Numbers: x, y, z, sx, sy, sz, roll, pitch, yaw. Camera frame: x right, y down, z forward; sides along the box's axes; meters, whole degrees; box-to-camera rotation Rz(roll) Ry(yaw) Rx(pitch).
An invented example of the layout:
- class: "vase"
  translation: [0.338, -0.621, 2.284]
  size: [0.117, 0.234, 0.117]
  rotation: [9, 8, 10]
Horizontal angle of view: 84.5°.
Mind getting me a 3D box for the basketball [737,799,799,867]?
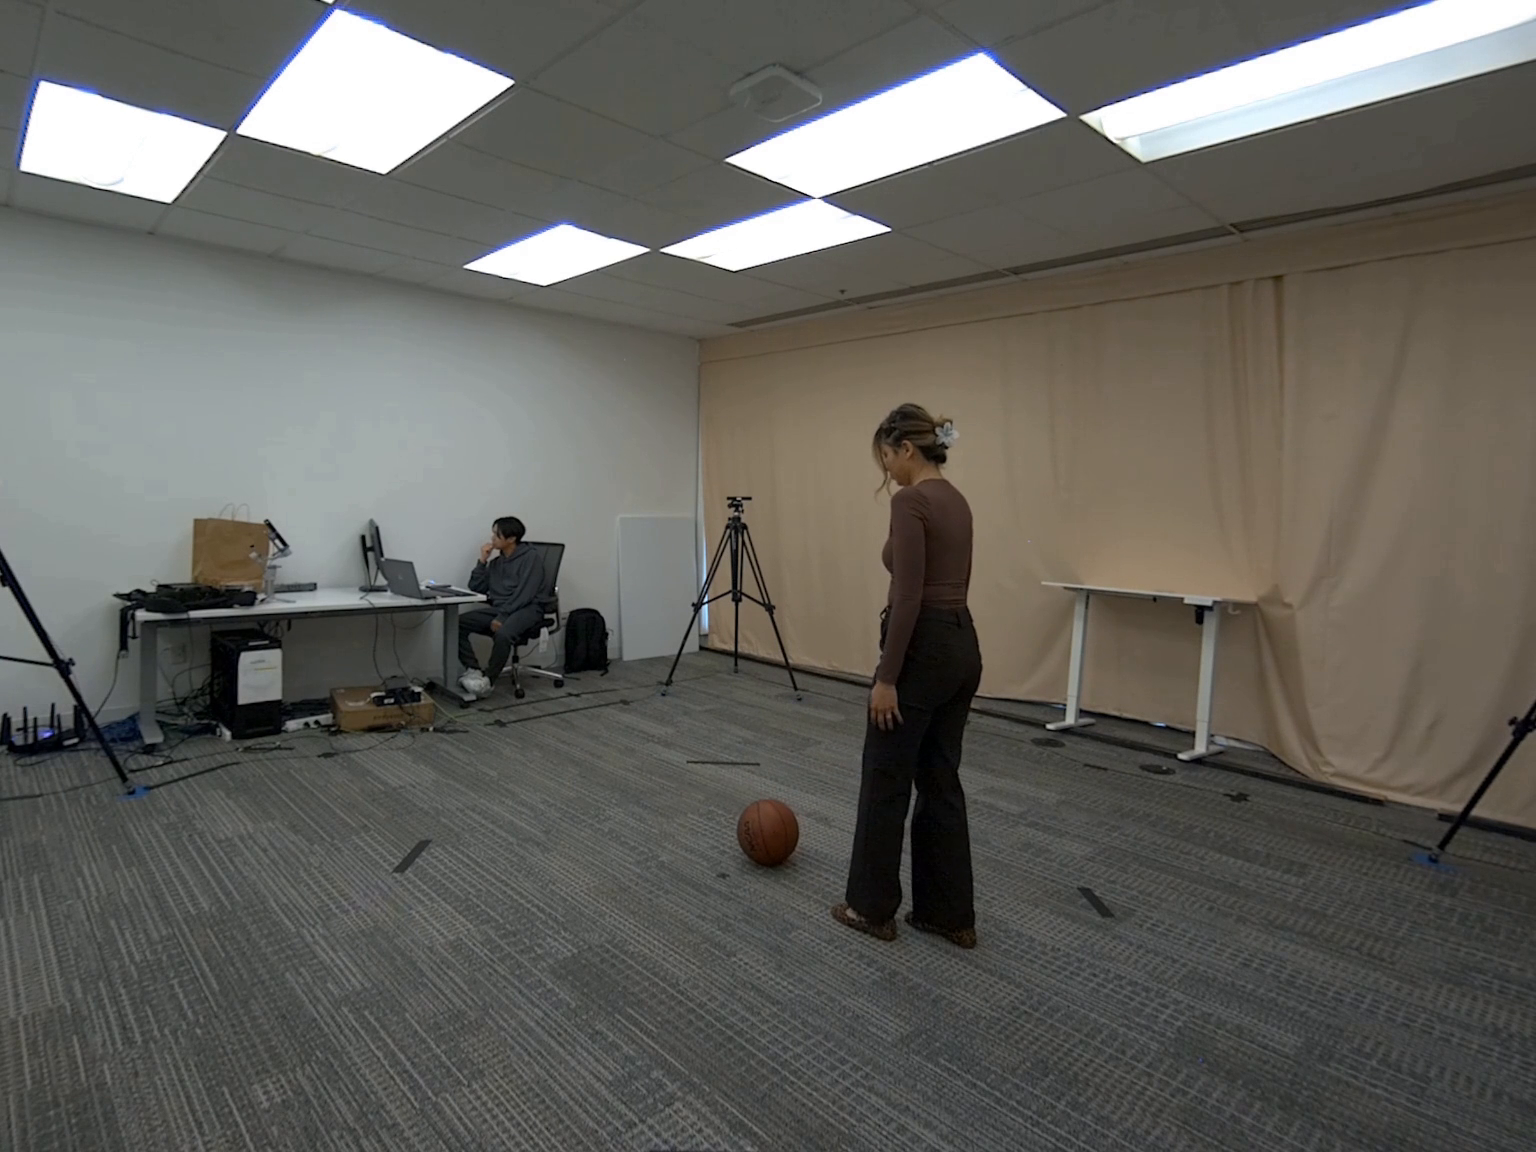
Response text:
- class: "basketball"
  translation: [-0.006, 0.975, 3.226]
  size: [0.236, 0.235, 0.237]
  rotation: [1, 4, -1]
